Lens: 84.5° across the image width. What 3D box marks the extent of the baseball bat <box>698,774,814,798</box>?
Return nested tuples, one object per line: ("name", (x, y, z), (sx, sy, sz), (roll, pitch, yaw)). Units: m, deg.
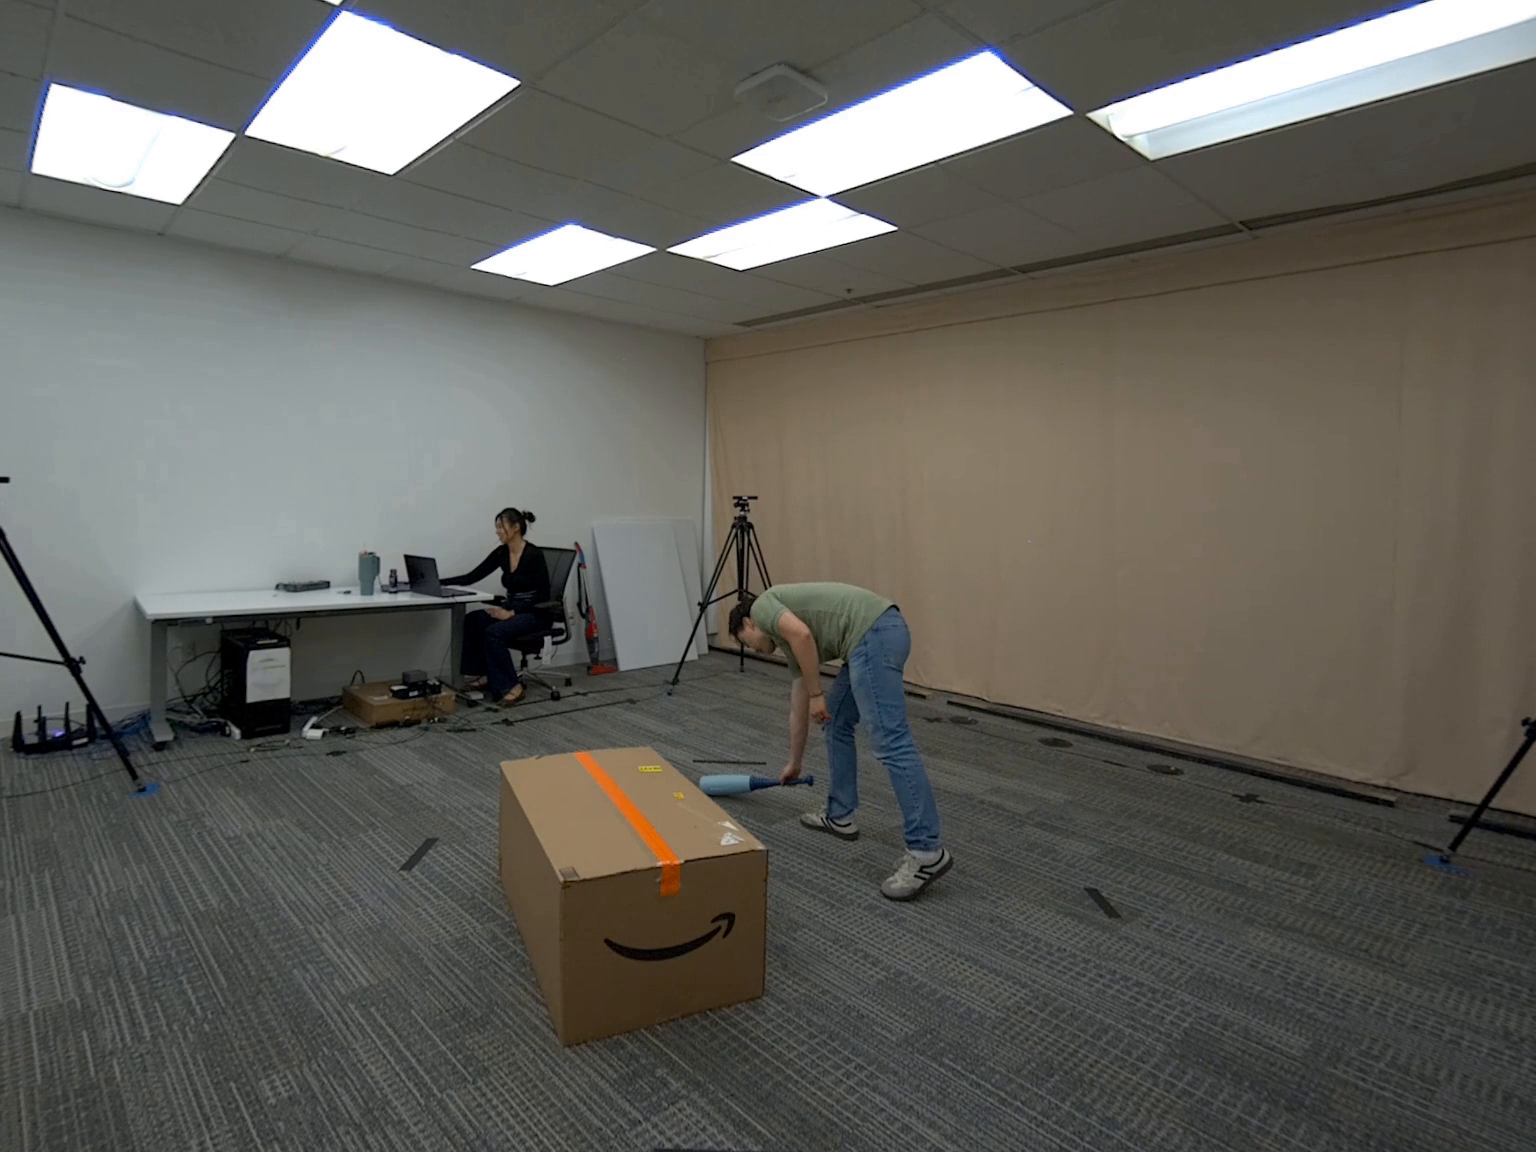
("baseball bat", (-0.063, 0.949, 3.863), (0.550, 0.089, 0.088), (-6, 2, 18))
